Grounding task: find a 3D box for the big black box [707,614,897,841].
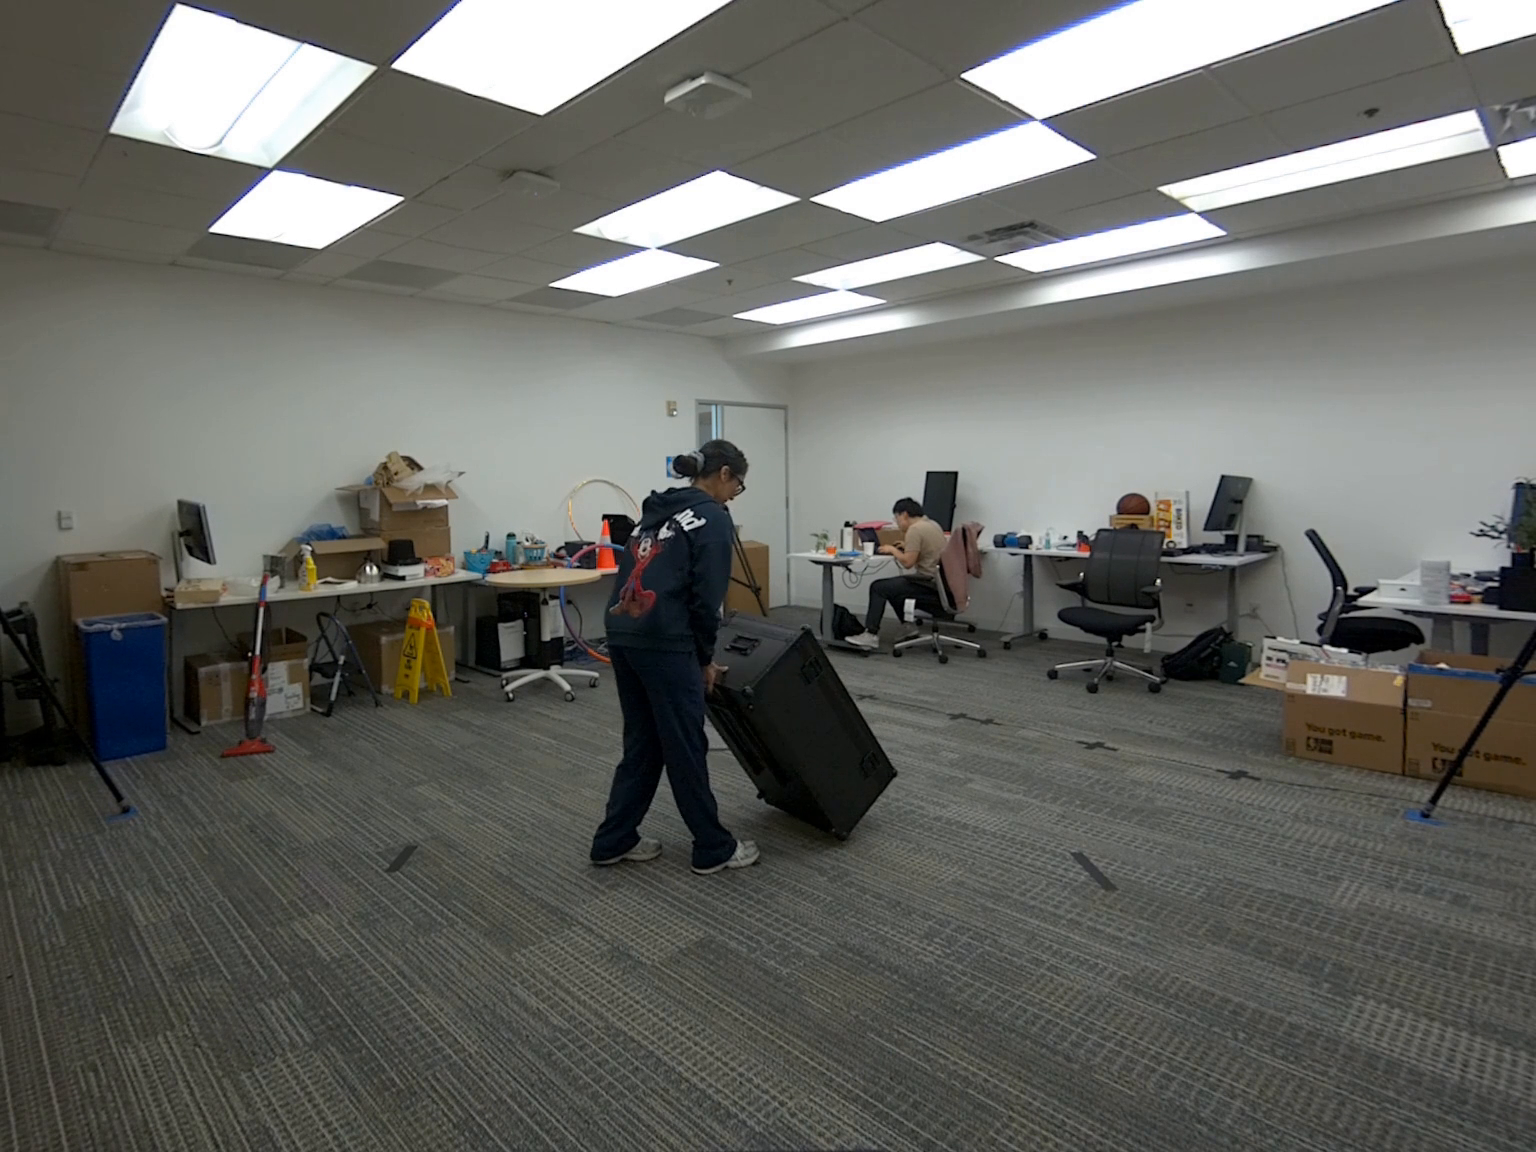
[{"bbox_3d":[0.084,0.598,3.374,0.520,0.839,0.408,-44,25,-26],"label":"big black box"}]
